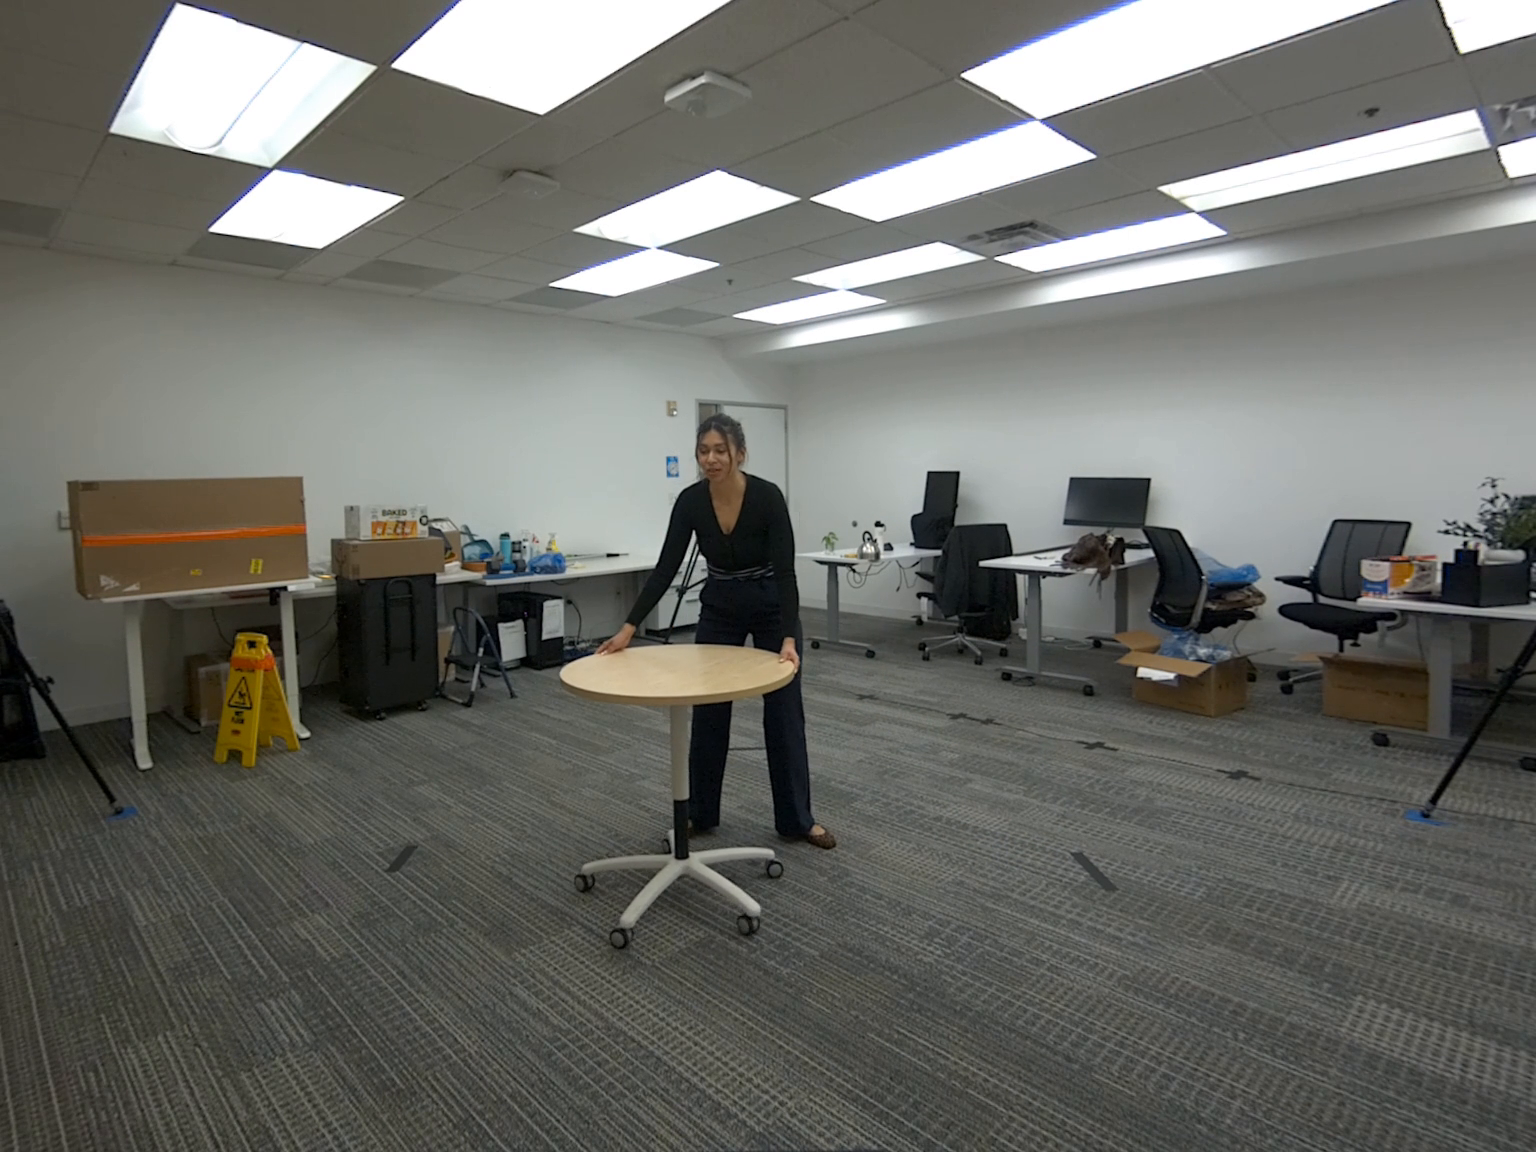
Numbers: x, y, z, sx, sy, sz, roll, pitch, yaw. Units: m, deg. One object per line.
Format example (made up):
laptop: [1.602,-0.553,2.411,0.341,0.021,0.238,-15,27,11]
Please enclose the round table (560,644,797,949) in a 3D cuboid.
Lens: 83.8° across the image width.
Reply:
round table: [-0.280,0.691,2.835,0.763,0.790,0.768,-1,5,-2]
